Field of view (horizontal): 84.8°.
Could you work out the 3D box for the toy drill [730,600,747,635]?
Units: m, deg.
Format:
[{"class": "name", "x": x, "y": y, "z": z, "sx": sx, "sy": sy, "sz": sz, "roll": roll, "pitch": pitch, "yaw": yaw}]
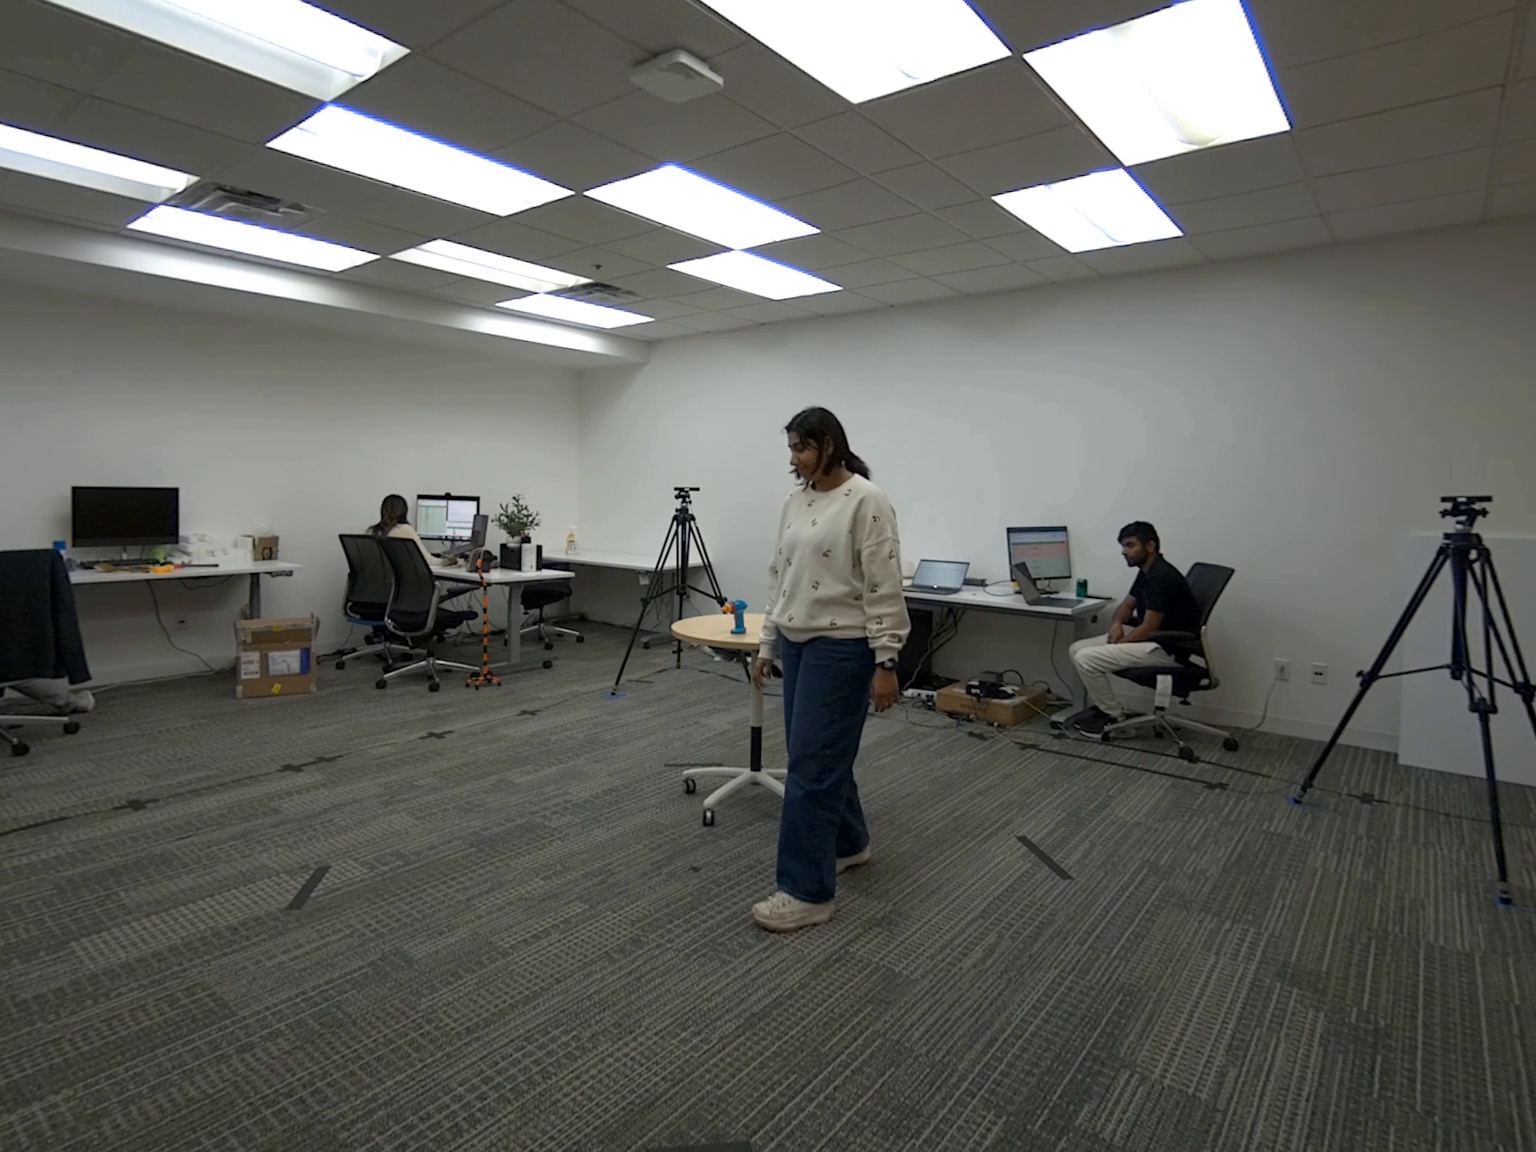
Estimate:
[{"class": "toy drill", "x": -0.157, "y": 0.169, "z": 3.564, "sx": 0.063, "sy": 0.146, "sz": 0.165, "roll": 2, "pitch": 4, "yaw": 38}]
